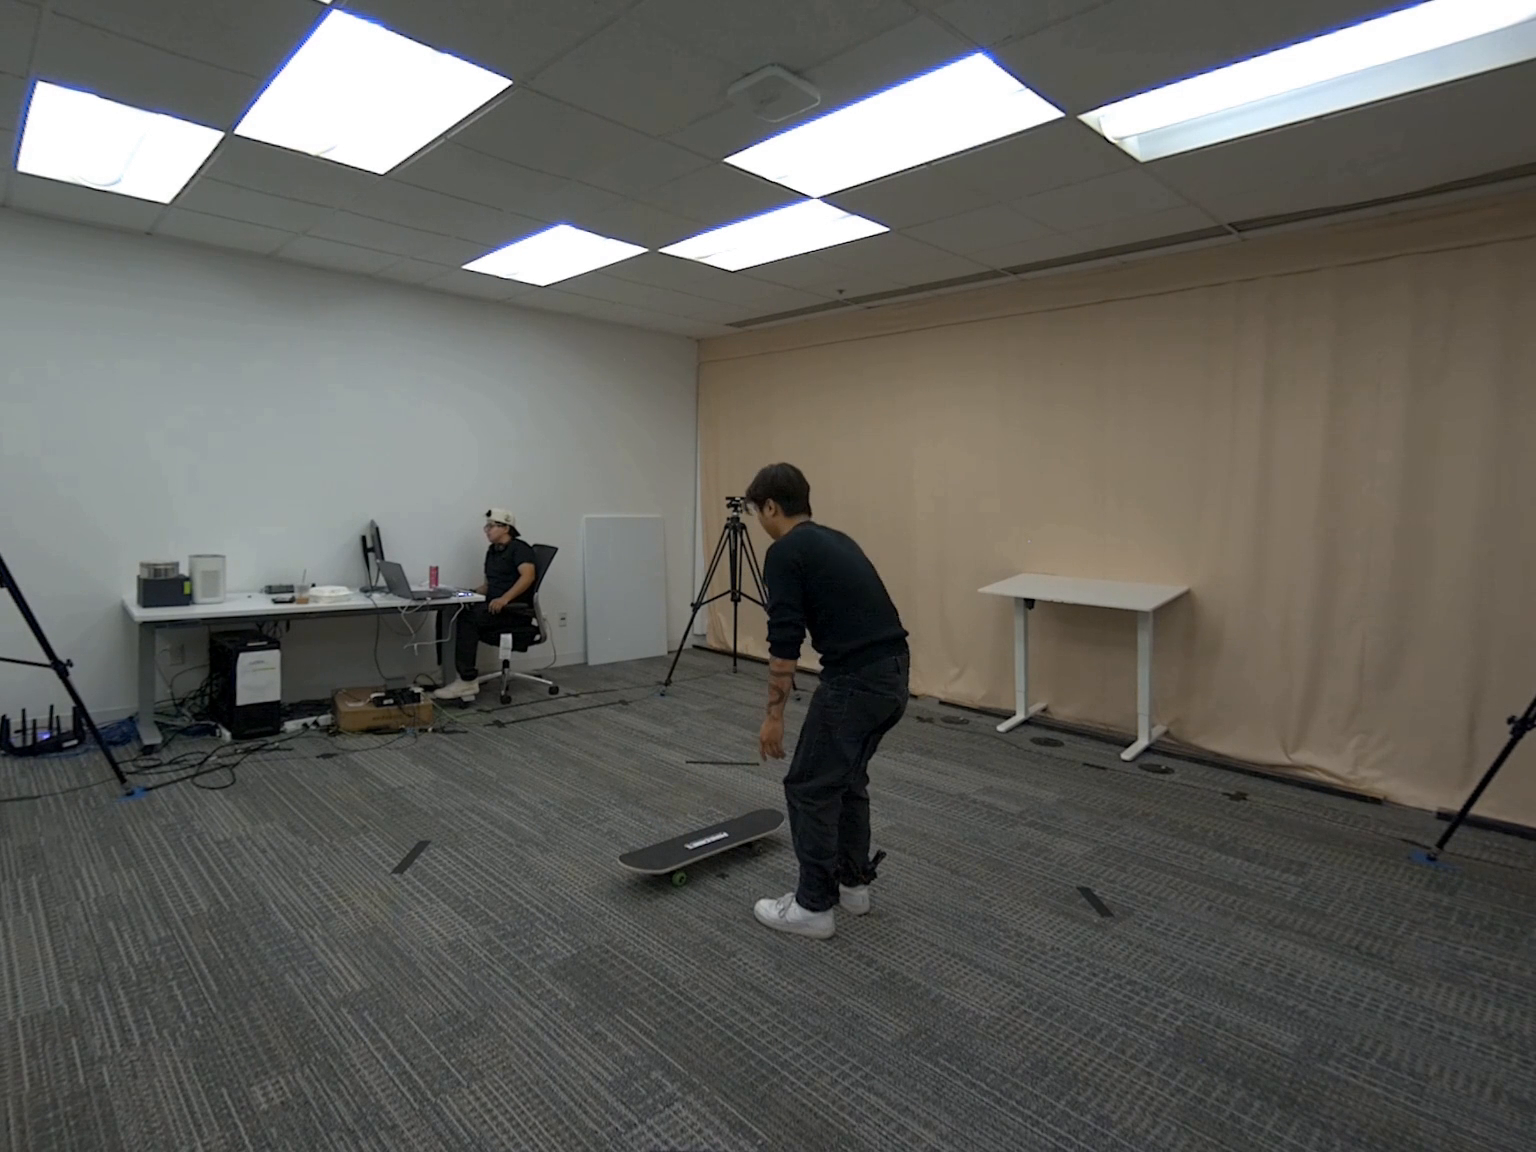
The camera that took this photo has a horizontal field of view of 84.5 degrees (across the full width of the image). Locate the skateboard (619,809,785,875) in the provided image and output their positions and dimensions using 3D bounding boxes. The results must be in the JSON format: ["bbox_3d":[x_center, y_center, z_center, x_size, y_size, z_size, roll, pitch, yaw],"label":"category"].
[{"bbox_3d":[-0.240,1.034,3.208,0.198,0.110,0.767,6,7,45],"label":"skateboard"}]
